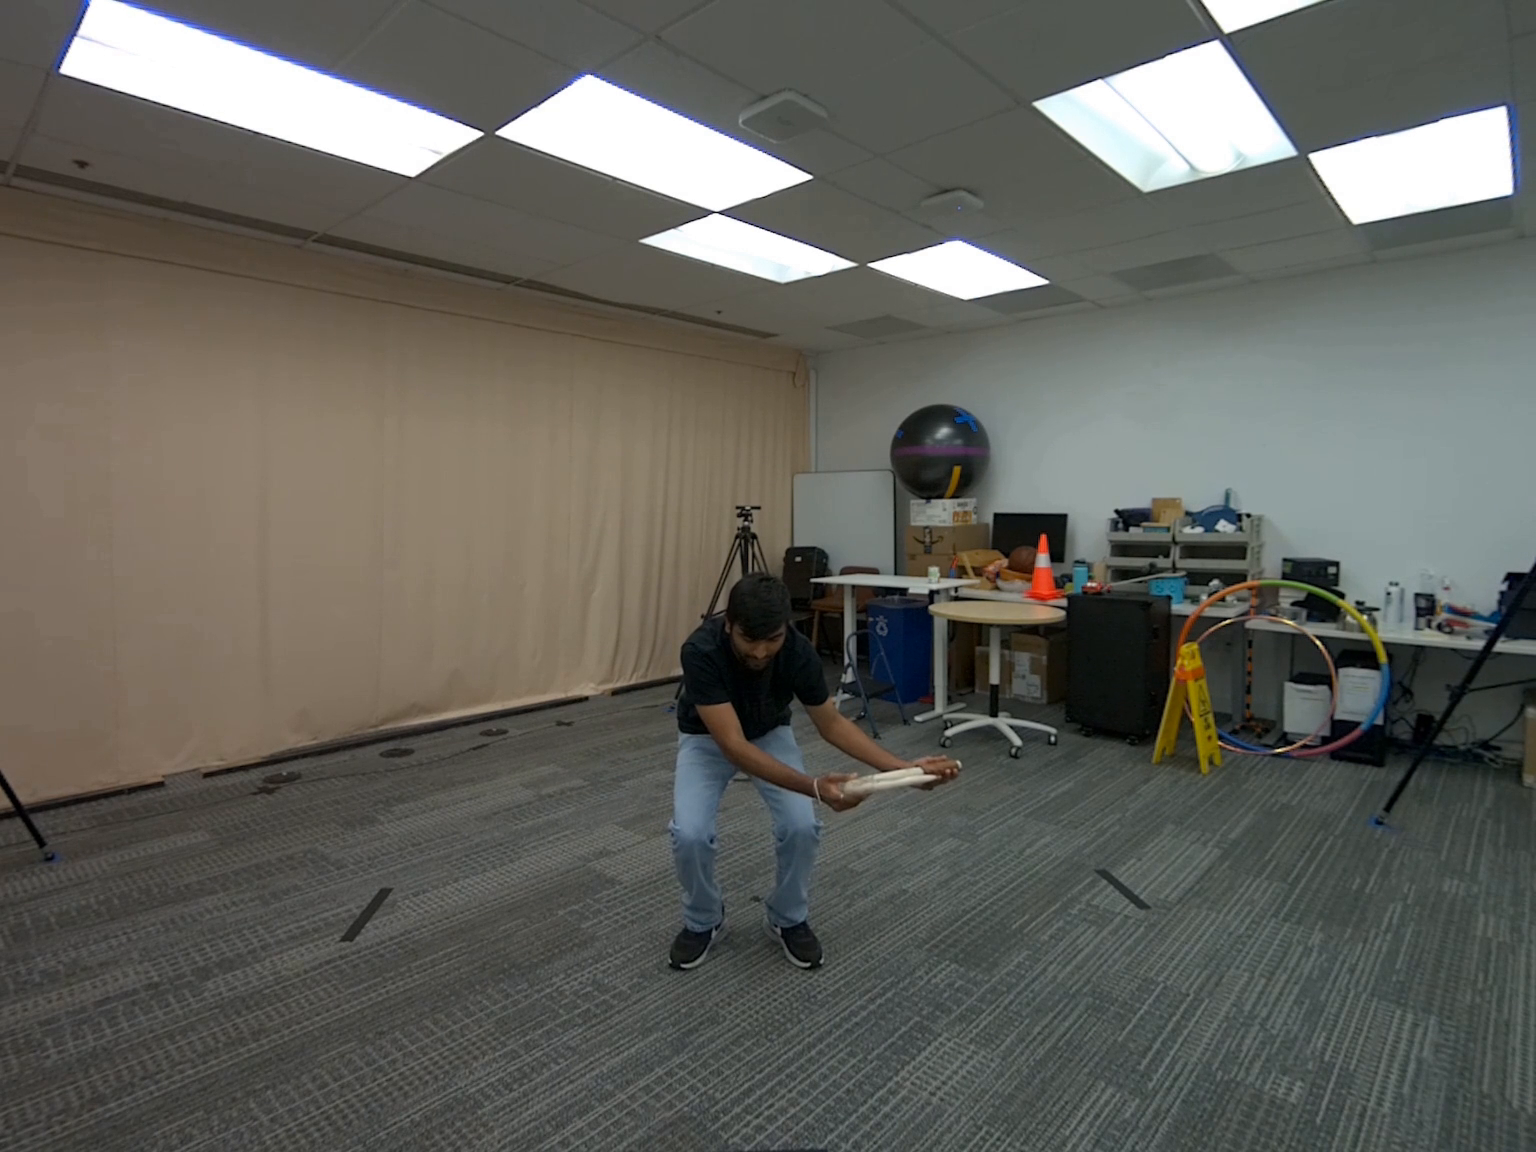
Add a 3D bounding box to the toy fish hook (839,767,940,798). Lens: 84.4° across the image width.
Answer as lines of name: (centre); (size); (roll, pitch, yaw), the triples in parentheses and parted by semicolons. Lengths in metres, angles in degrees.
toy fish hook: (0.403, 0.542, 2.264); (0.491, 0.048, 0.230); (0, -11, -40)
